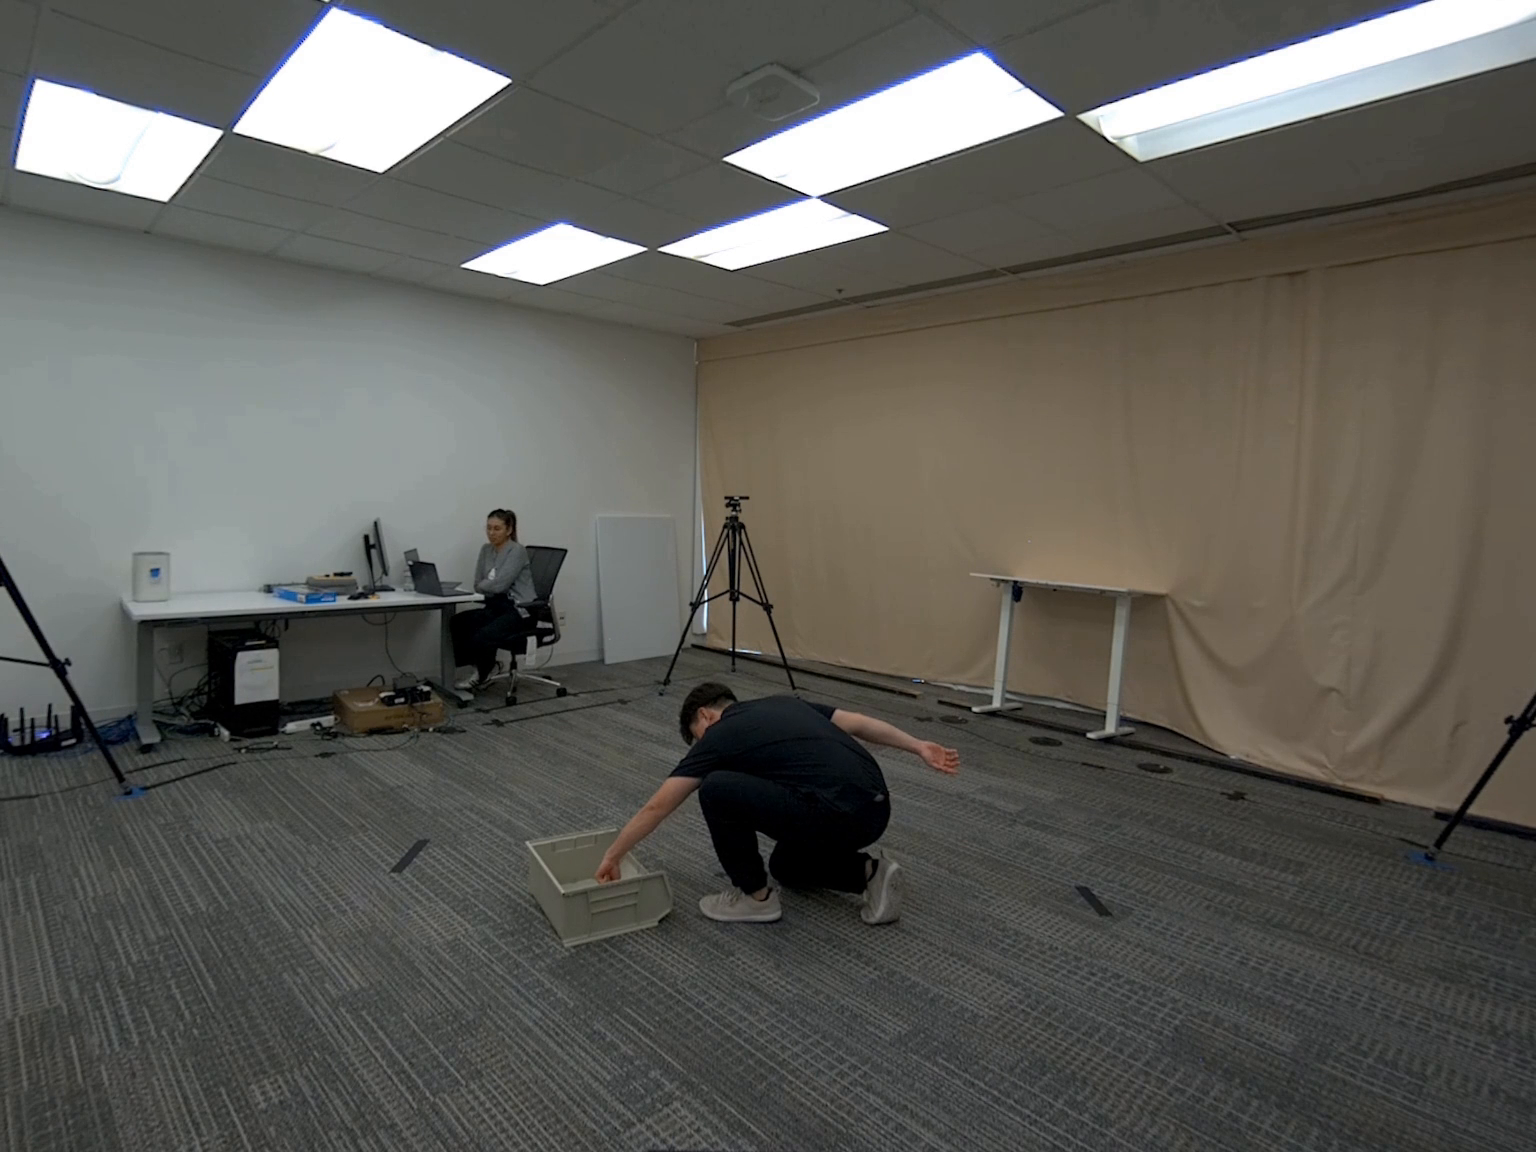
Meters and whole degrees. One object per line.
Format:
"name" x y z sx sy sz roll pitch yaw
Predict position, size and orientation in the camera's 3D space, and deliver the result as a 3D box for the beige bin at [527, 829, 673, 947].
"beige bin" -0.576 1.025 2.840 0.370 0.188 0.432 -2 7 -30
